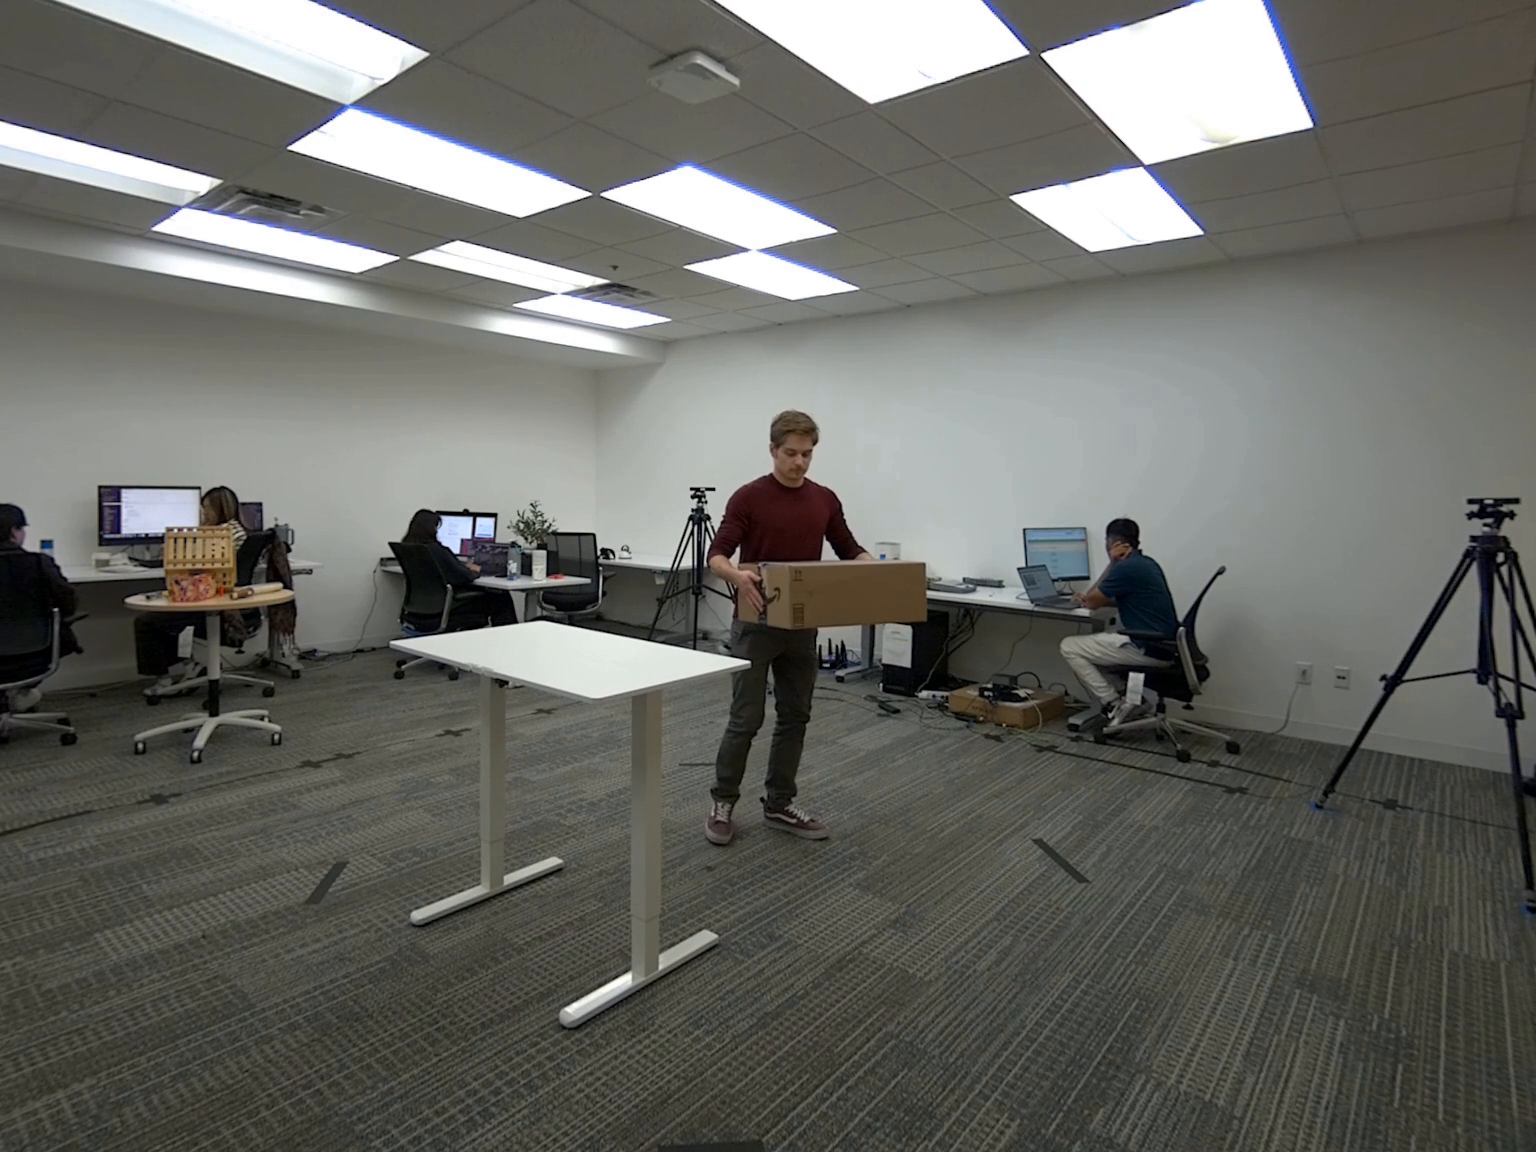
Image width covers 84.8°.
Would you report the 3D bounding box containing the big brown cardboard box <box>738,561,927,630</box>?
[{"bbox_3d":[0.220,0.057,3.143,0.575,0.233,0.427,-2,2,-25],"label":"big brown cardboard box"}]
